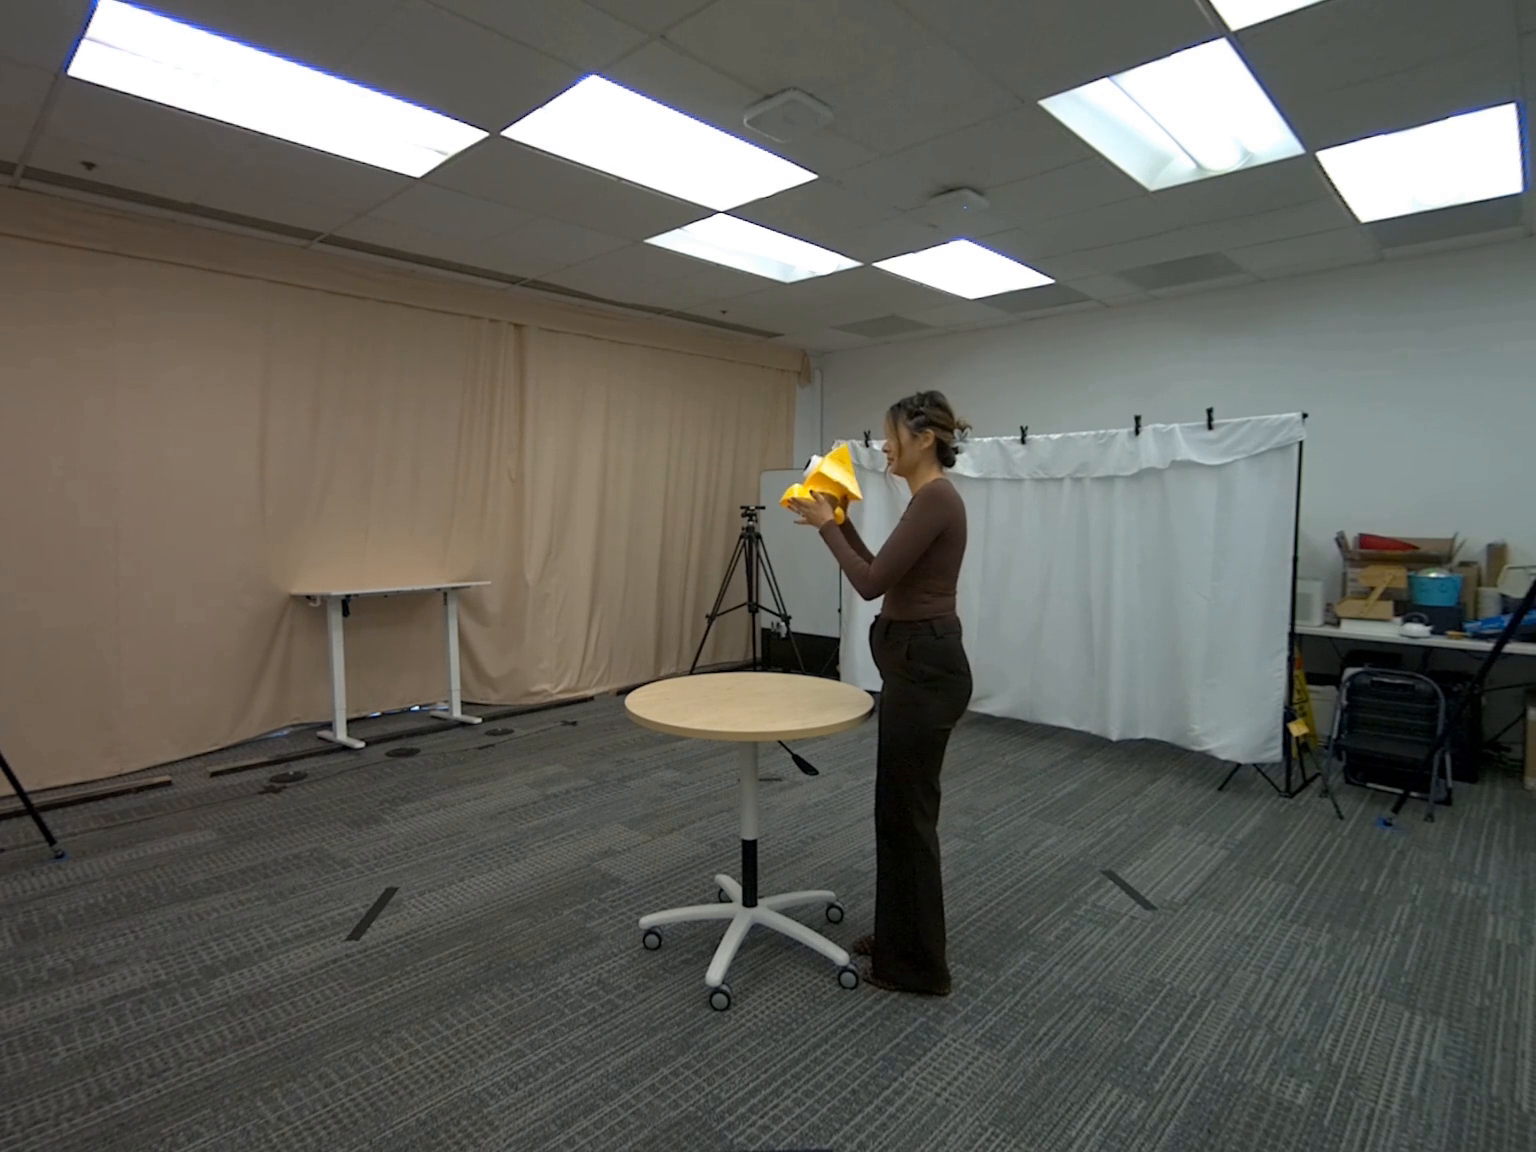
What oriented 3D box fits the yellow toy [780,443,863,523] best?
[{"bbox_3d":[0.182,-0.306,2.650,0.198,0.232,0.199,28,-19,-36],"label":"yellow toy"}]
